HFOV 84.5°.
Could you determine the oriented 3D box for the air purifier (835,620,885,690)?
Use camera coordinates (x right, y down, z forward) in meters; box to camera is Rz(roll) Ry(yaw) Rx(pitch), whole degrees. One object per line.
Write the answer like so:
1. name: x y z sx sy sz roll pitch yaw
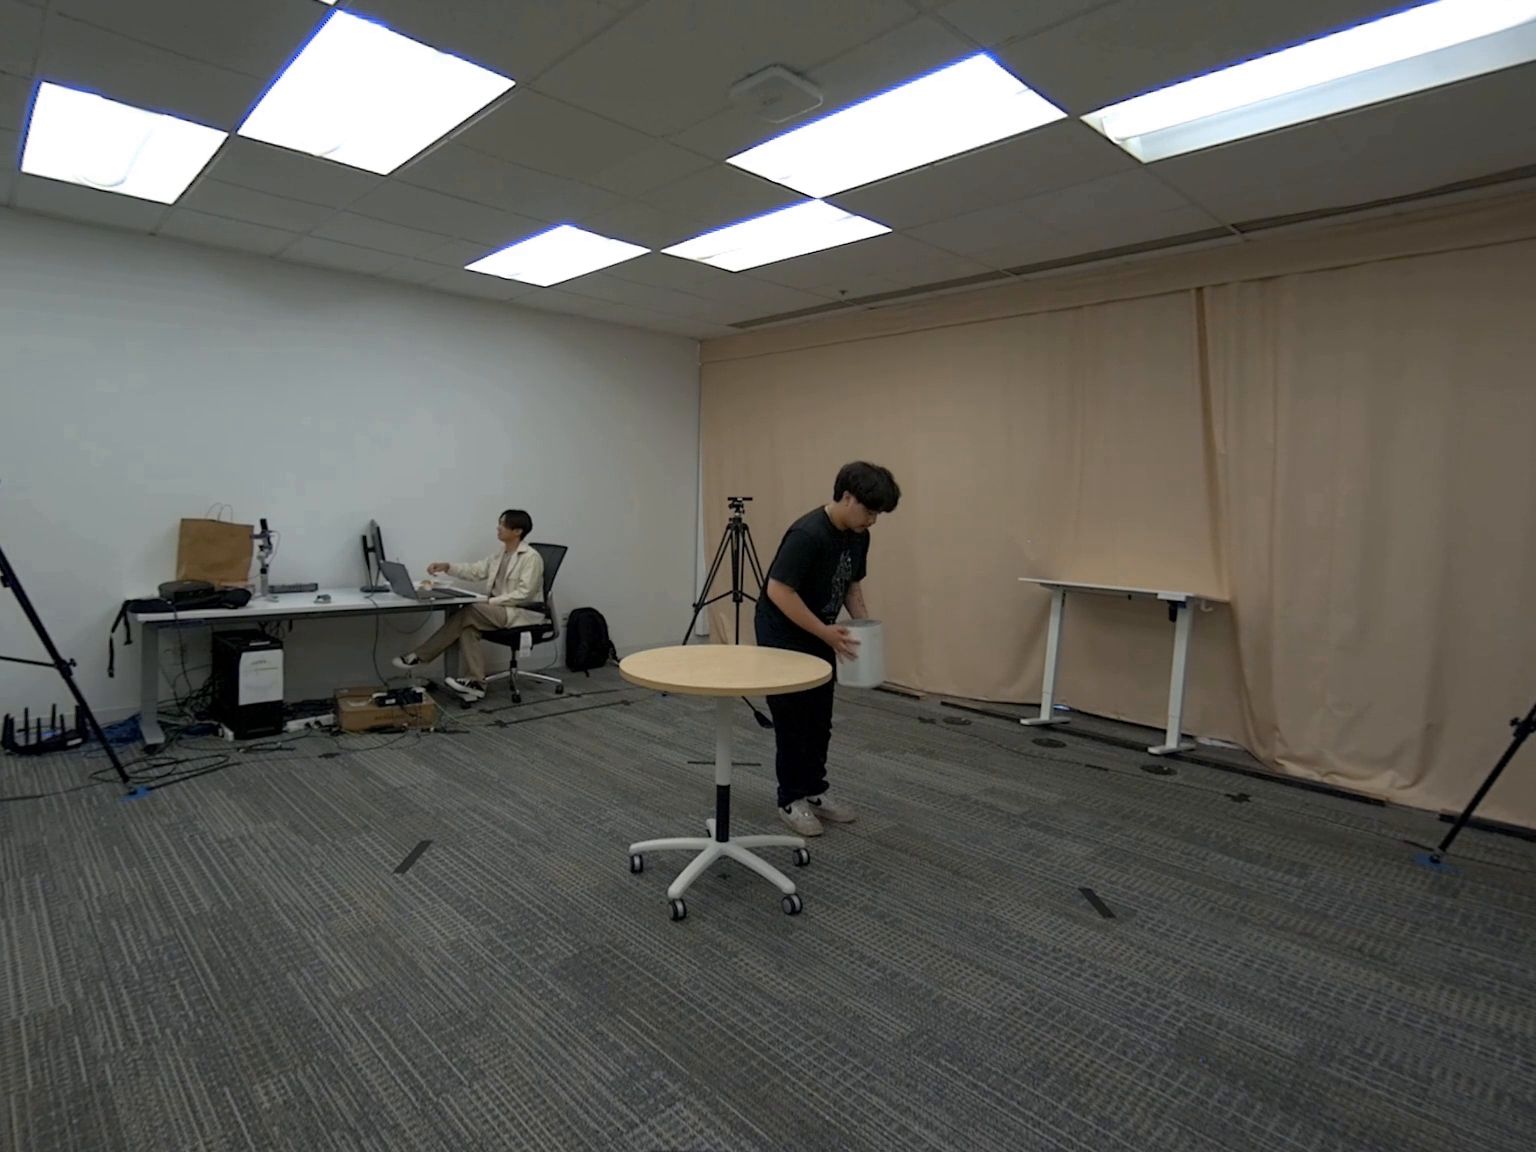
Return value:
1. air purifier: 0.363 0.313 3.508 0.175 0.264 0.168 0 7 39
